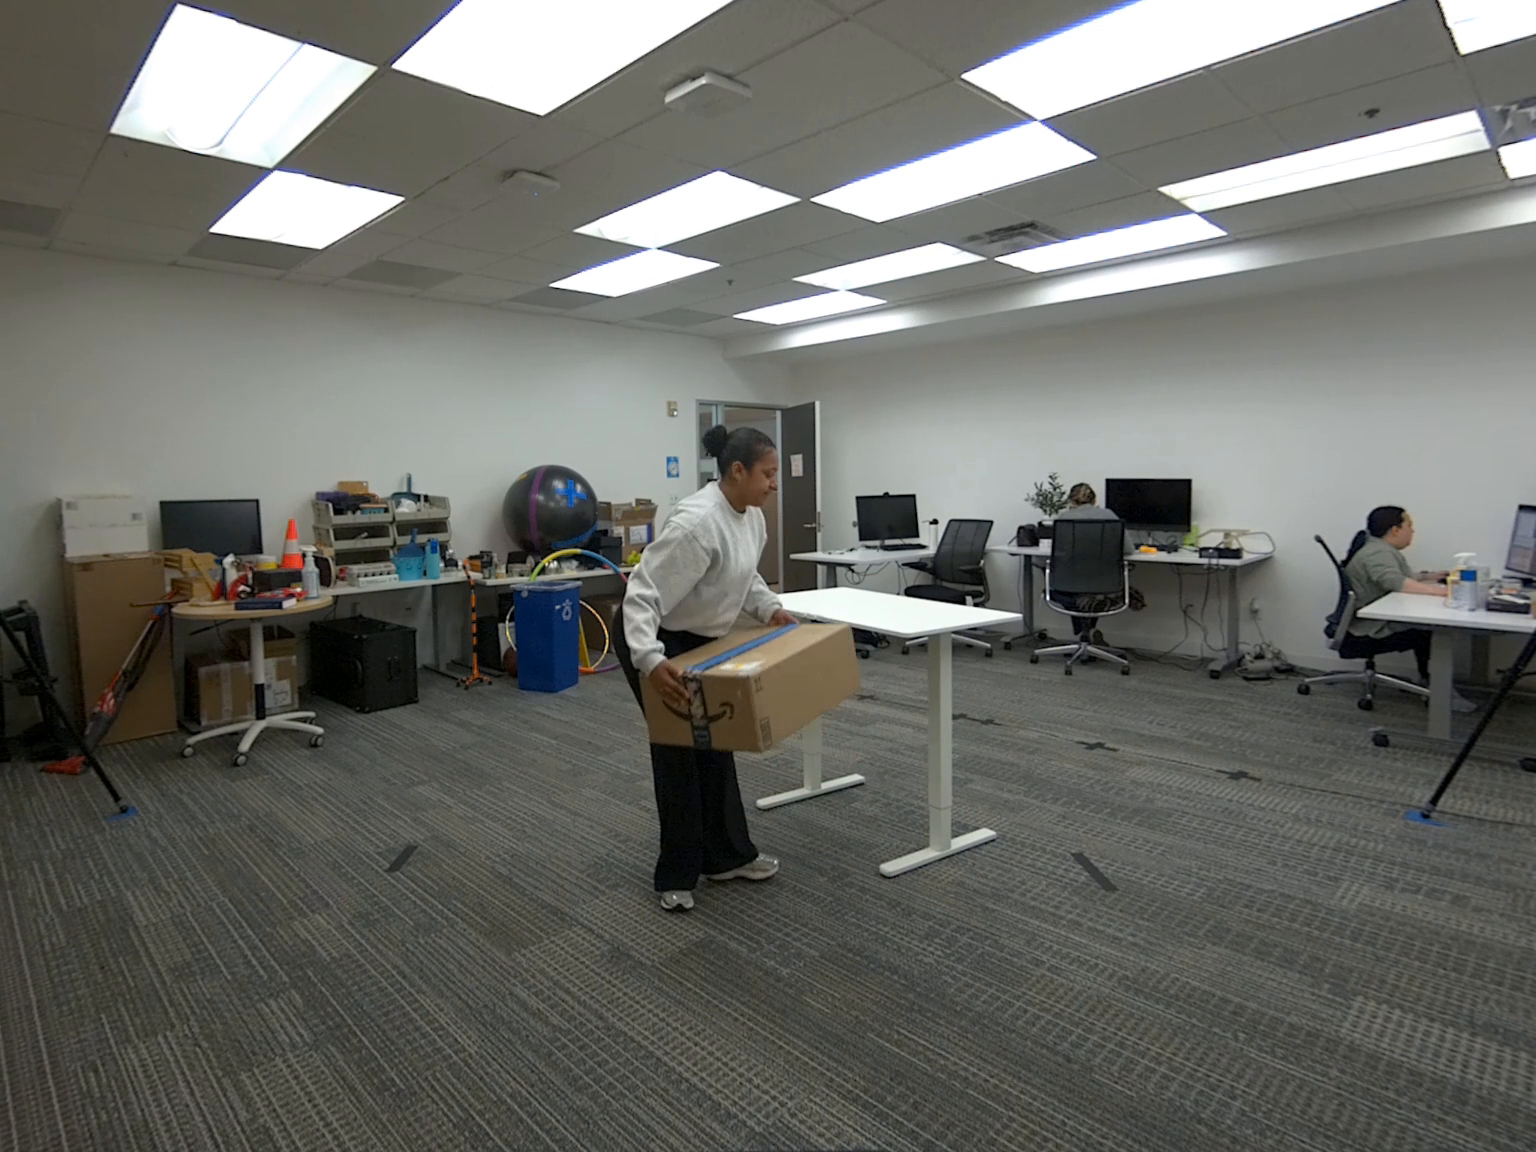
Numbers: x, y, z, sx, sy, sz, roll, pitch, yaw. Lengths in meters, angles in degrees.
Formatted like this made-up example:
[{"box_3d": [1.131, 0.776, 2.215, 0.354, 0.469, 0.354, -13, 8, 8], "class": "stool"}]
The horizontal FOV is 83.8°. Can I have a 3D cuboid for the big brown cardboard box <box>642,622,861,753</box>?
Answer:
[{"box_3d": [-0.031, 0.330, 2.618, 0.428, 0.232, 0.577, -4, 8, 37], "class": "big brown cardboard box"}]
